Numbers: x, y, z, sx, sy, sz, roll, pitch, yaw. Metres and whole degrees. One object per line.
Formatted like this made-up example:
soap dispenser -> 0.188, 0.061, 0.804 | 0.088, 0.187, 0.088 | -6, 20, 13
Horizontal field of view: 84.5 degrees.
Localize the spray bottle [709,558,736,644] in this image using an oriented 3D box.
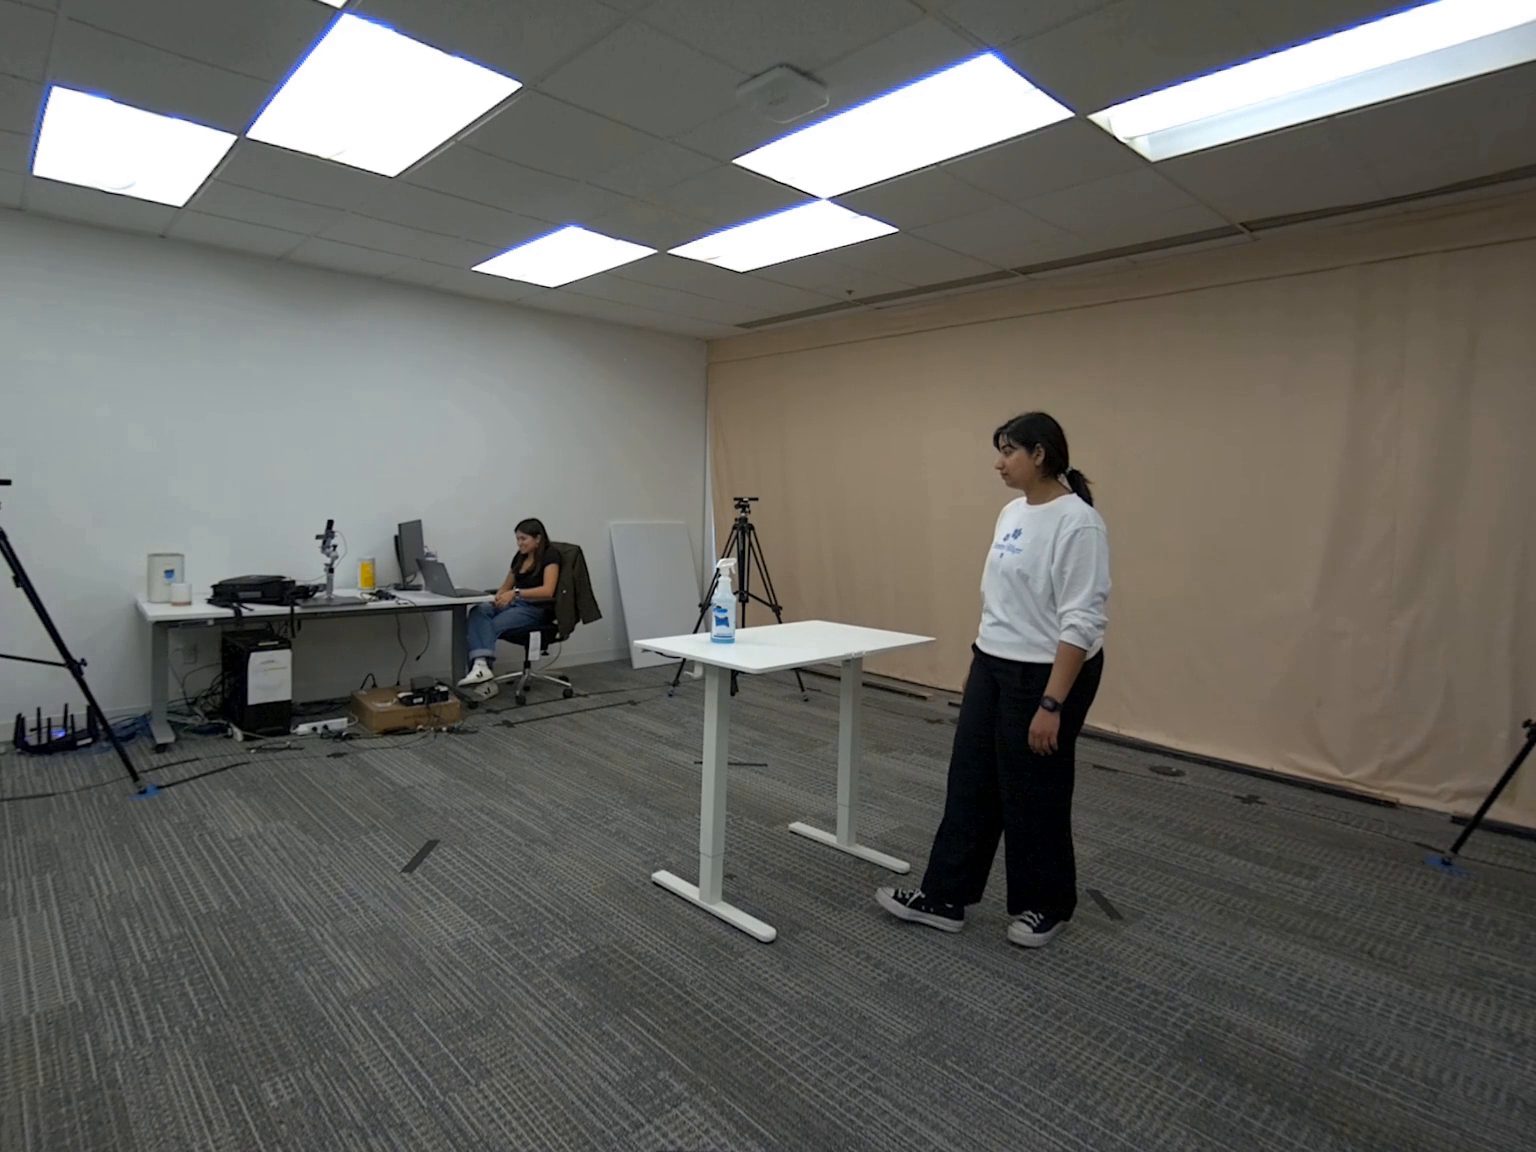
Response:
spray bottle -> -0.154, 0.088, 2.990 | 0.089, 0.297, 0.088 | 4, 1, -19
